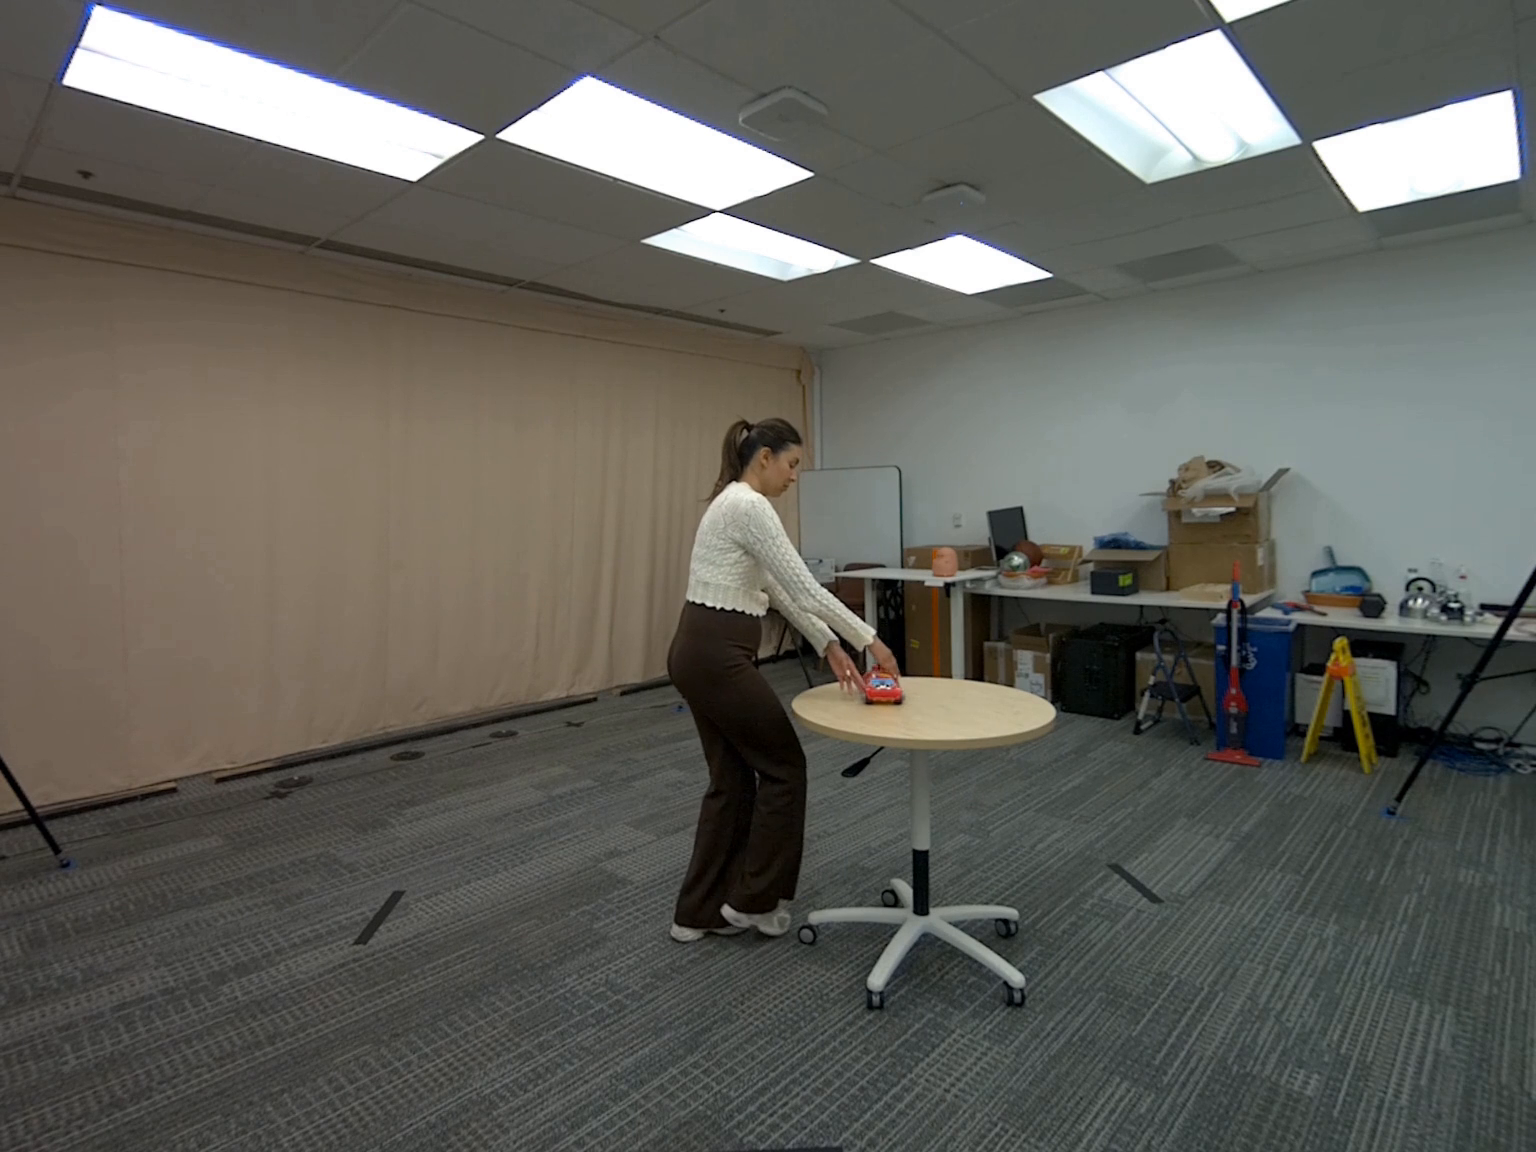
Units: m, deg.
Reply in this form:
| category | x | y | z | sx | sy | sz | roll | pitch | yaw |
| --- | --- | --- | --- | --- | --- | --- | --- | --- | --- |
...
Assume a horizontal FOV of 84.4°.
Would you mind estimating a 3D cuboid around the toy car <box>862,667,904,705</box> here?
| category | x | y | z | sx | sy | sz | roll | pitch | yaw |
| --- | --- | --- | --- | --- | --- | --- | --- | --- | --- |
| toy car | 0.361 | 0.348 | 2.625 | 0.131 | 0.082 | 0.255 | -1 | 16 | 6 |
